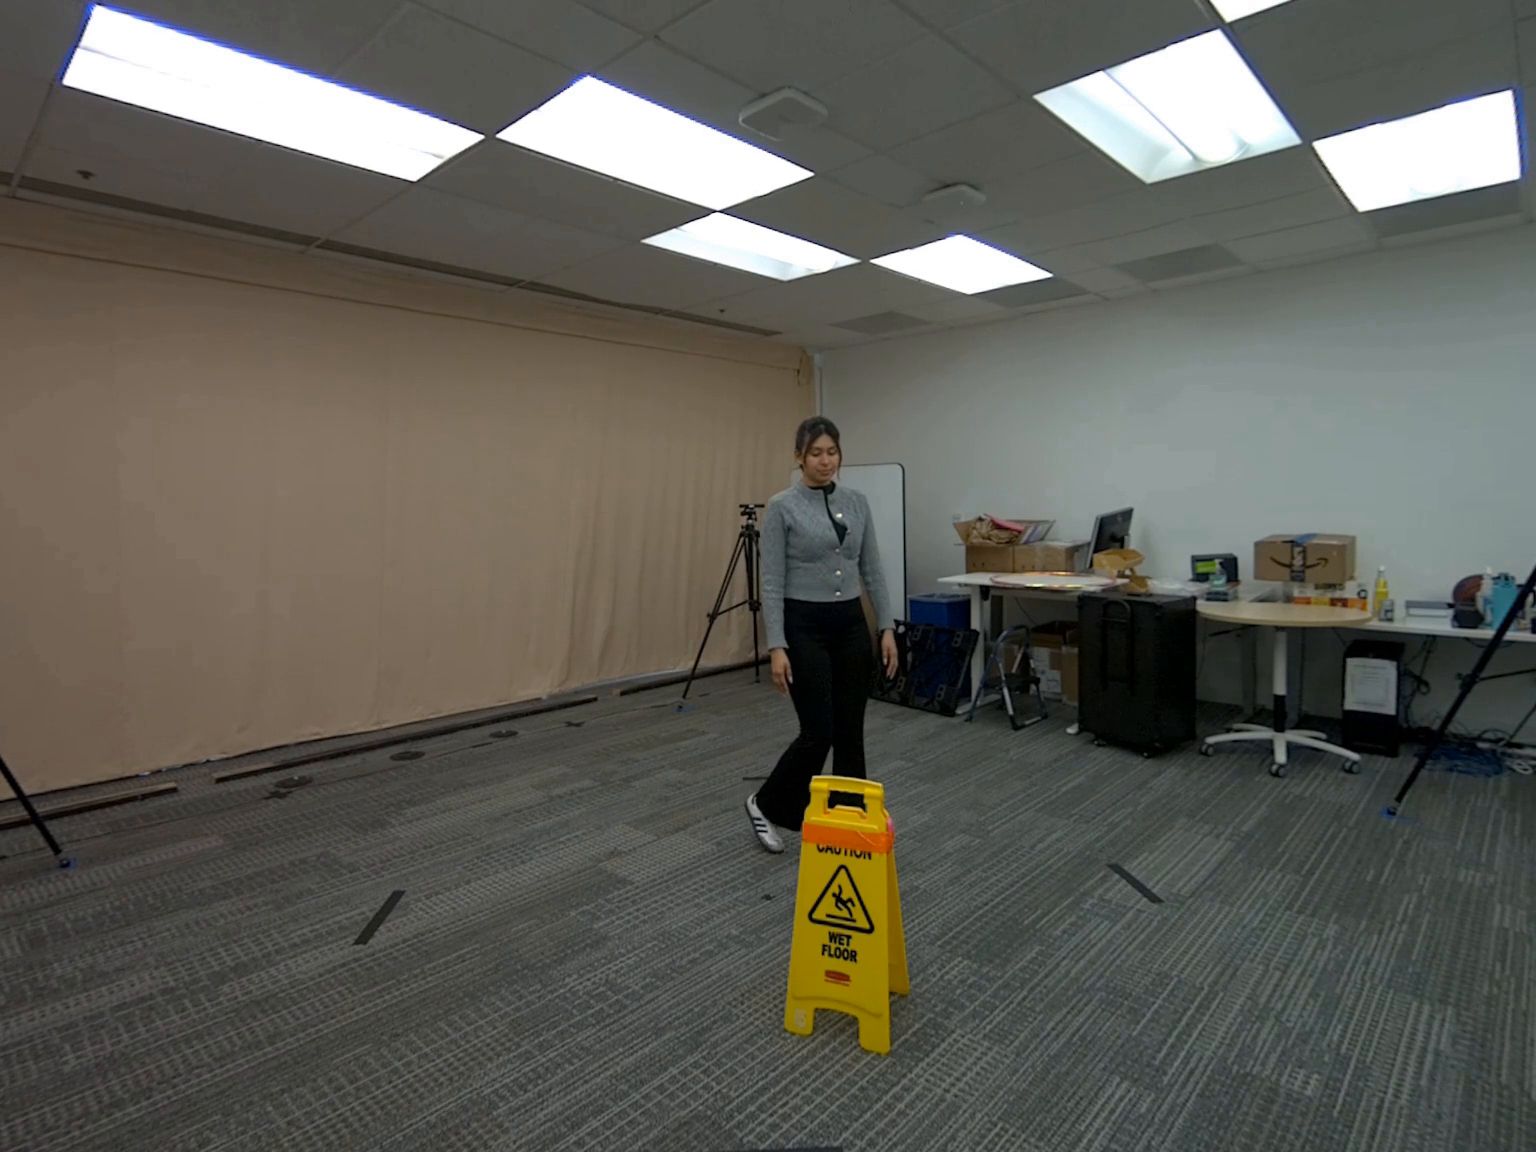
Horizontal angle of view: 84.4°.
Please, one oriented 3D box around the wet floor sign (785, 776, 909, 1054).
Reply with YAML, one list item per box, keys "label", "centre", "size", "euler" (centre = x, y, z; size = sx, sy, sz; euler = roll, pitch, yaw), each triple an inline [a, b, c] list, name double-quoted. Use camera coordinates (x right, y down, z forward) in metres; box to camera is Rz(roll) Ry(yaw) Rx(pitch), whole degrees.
- label: "wet floor sign"
  centre: [0.221, 0.872, 2.288]
  size: [0.289, 0.644, 0.284]
  euler: [0, 4, 22]
